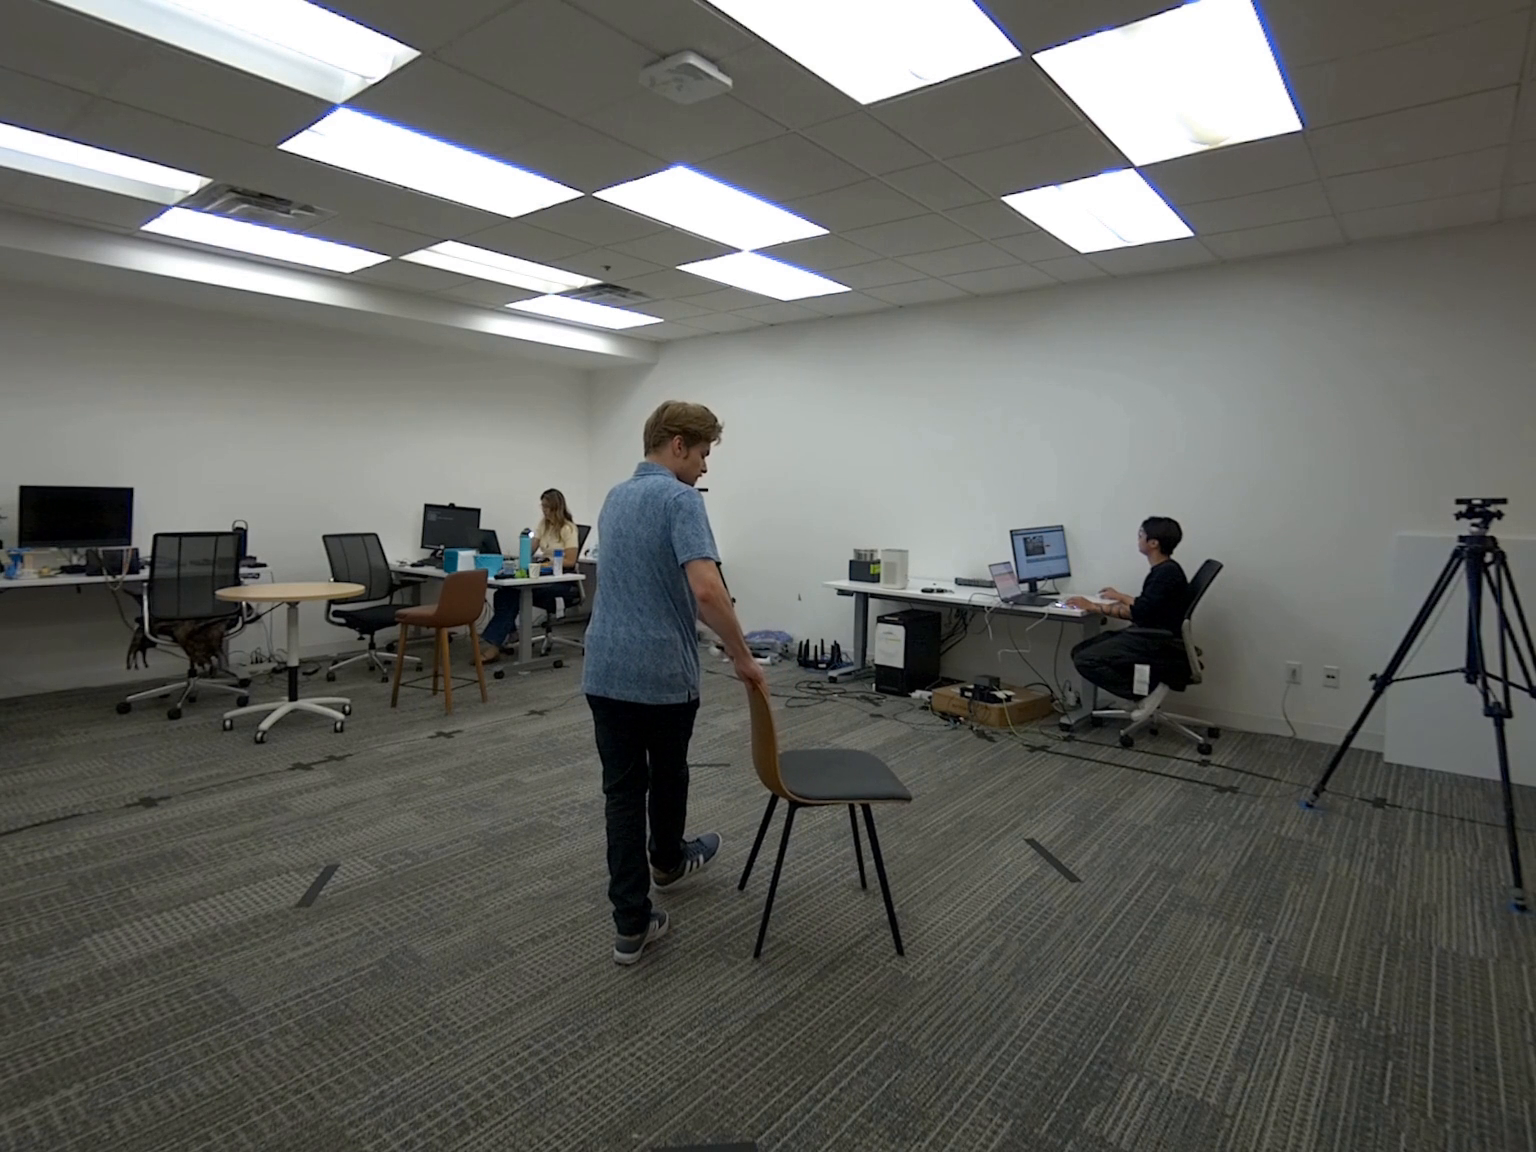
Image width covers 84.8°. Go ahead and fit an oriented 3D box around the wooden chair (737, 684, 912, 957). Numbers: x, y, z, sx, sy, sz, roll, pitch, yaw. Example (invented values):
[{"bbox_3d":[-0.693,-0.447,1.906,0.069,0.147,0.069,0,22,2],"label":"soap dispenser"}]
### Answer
[{"bbox_3d":[0.168,0.685,2.730,0.520,0.875,0.482,-3,3,-6],"label":"wooden chair"}]
